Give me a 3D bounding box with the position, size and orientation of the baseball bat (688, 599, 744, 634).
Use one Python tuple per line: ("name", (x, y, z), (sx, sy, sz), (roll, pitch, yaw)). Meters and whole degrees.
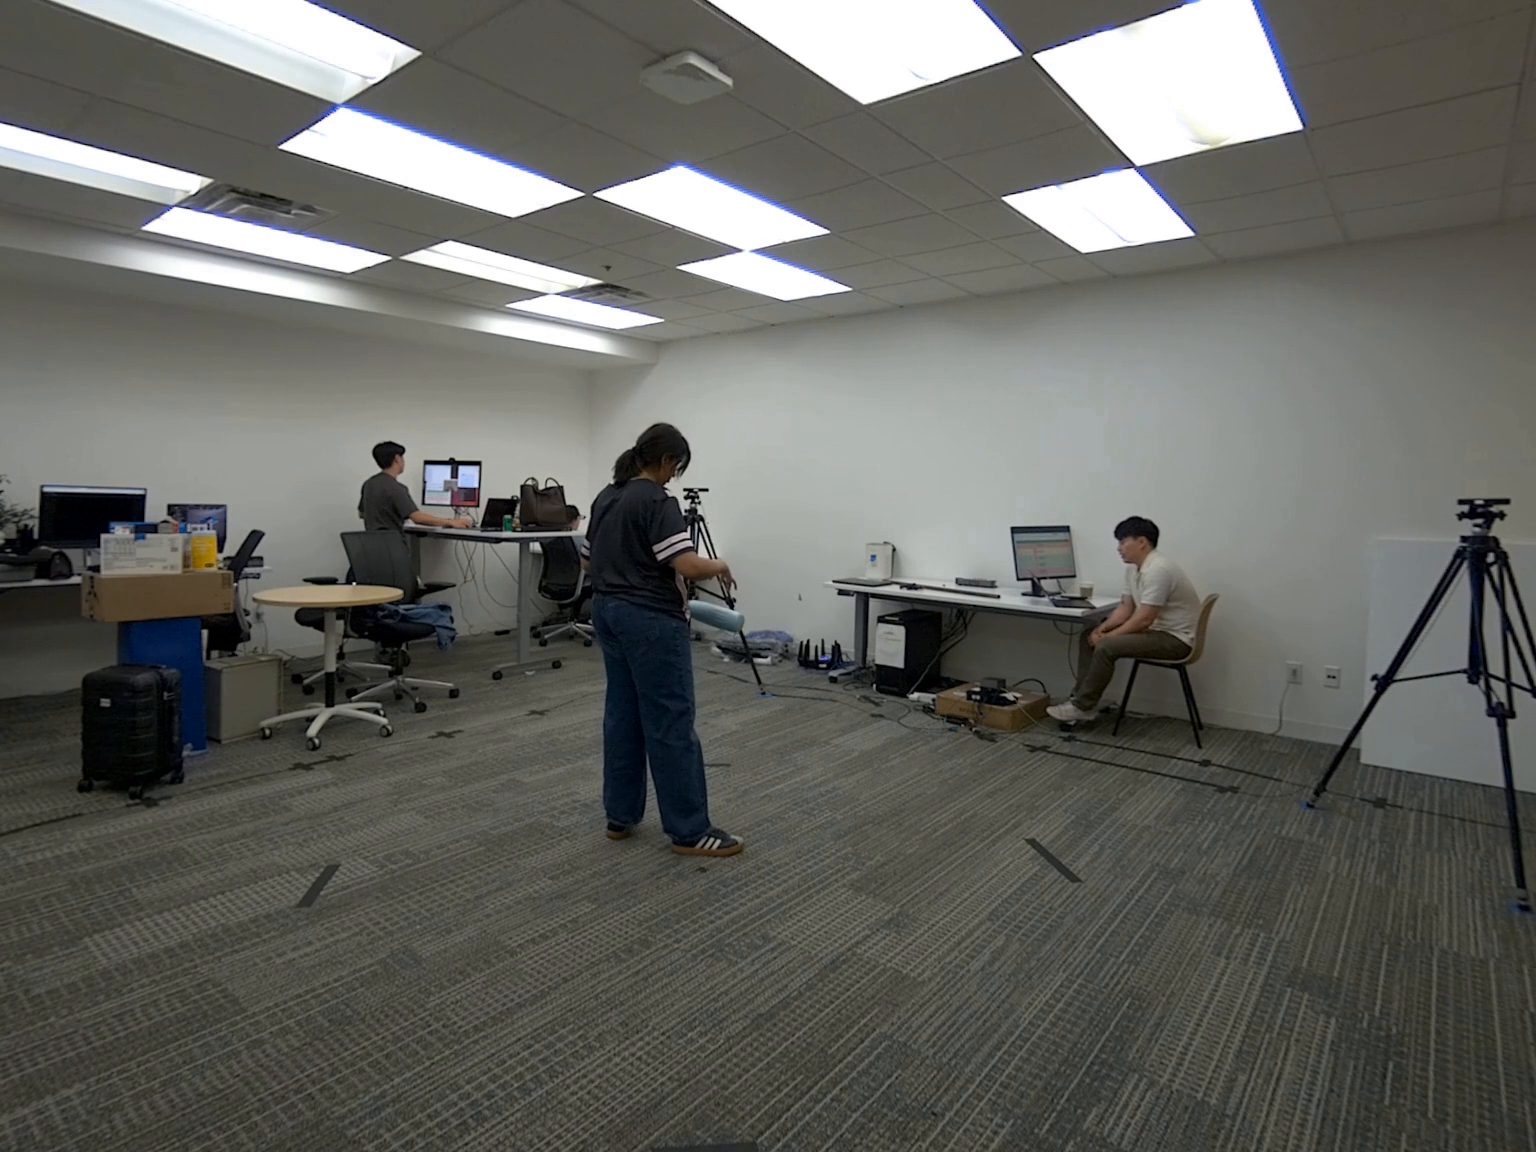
("baseball bat", (-0.334, 0.120, 3.606), (0.560, 0.088, 0.087), (13, 9, 26))
